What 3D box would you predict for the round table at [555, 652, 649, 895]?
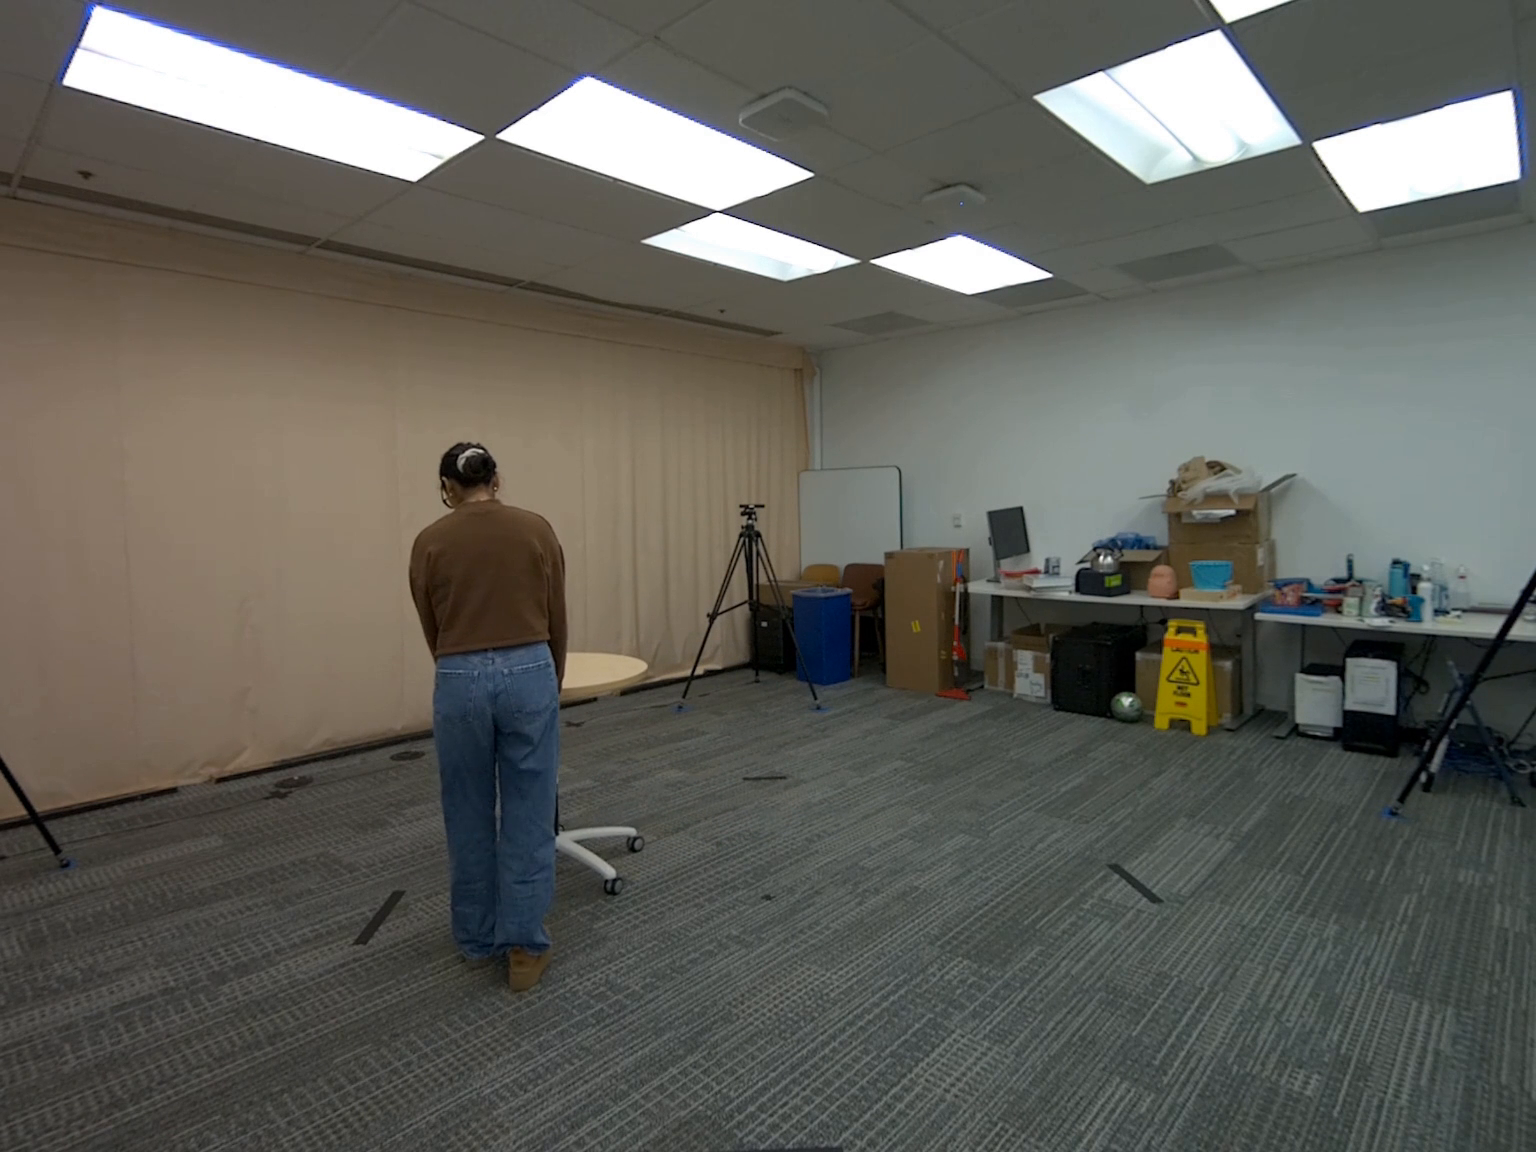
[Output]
[{"bbox_3d":[-0.826,0.752,3.228,0.763,0.792,0.766,-1,3,-2],"label":"round table"}]
